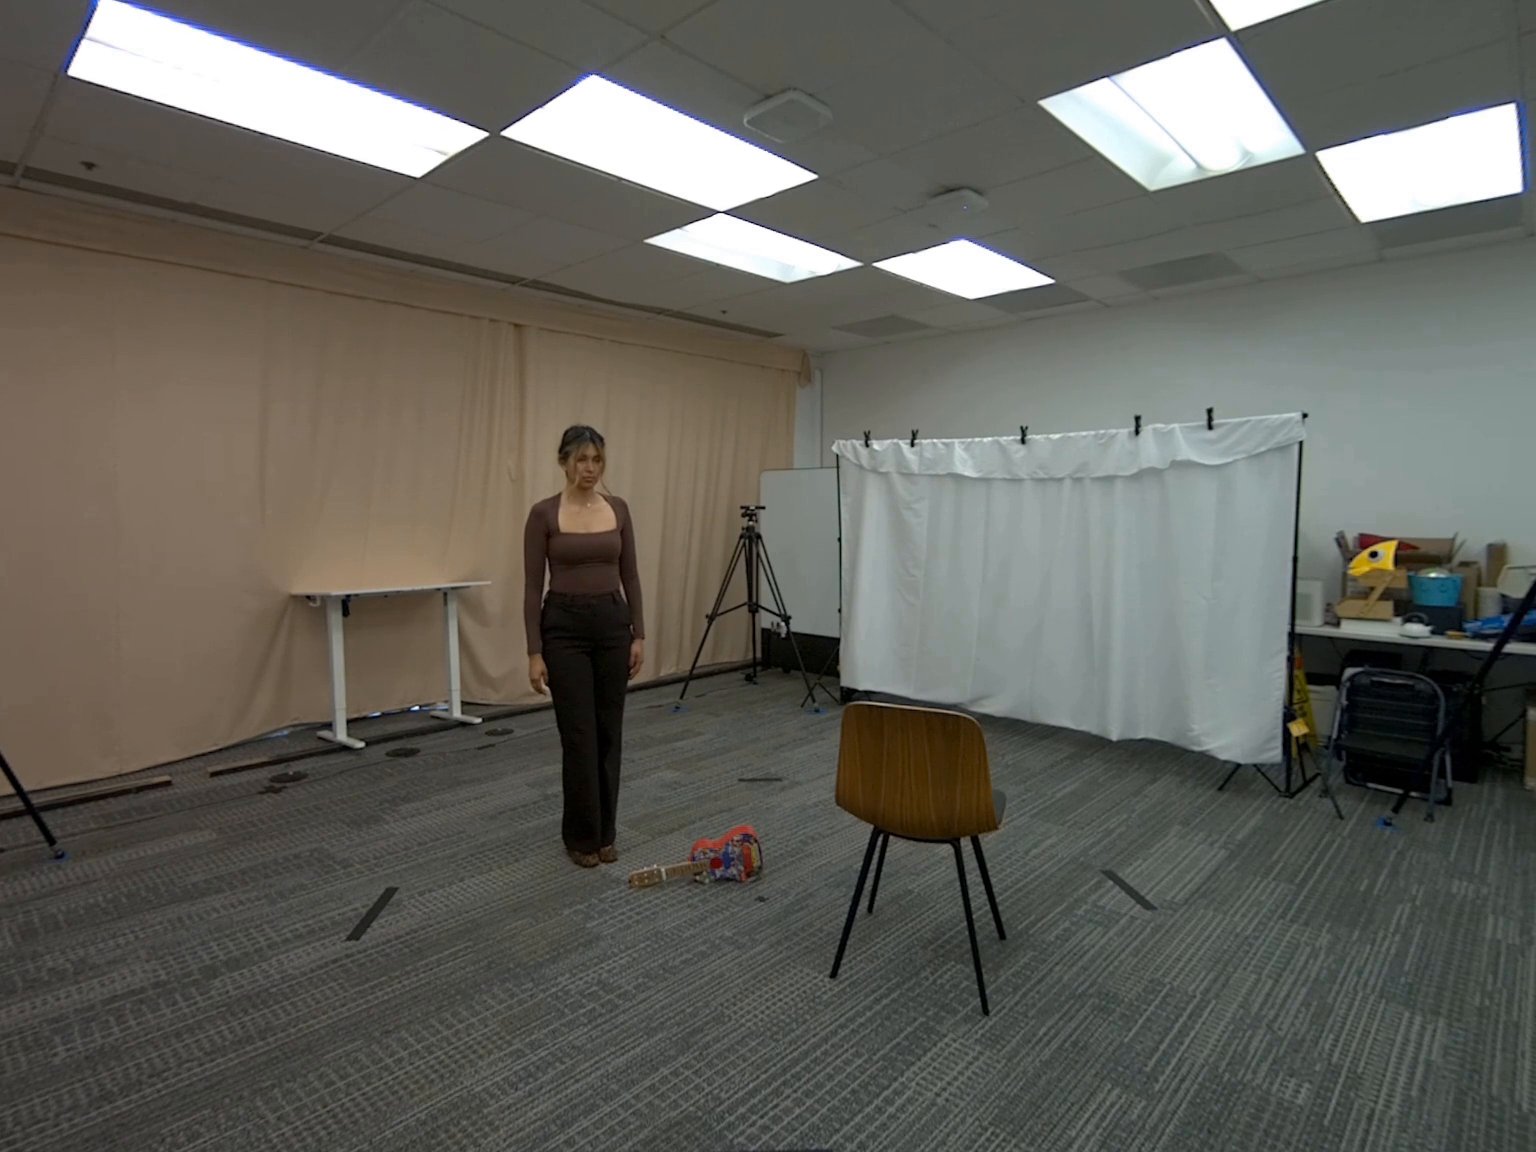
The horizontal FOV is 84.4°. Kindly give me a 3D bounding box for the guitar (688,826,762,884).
[{"bbox_3d":[-0.268,1.042,3.113,0.495,0.192,0.071,-1,7,-5],"label":"guitar"}]
